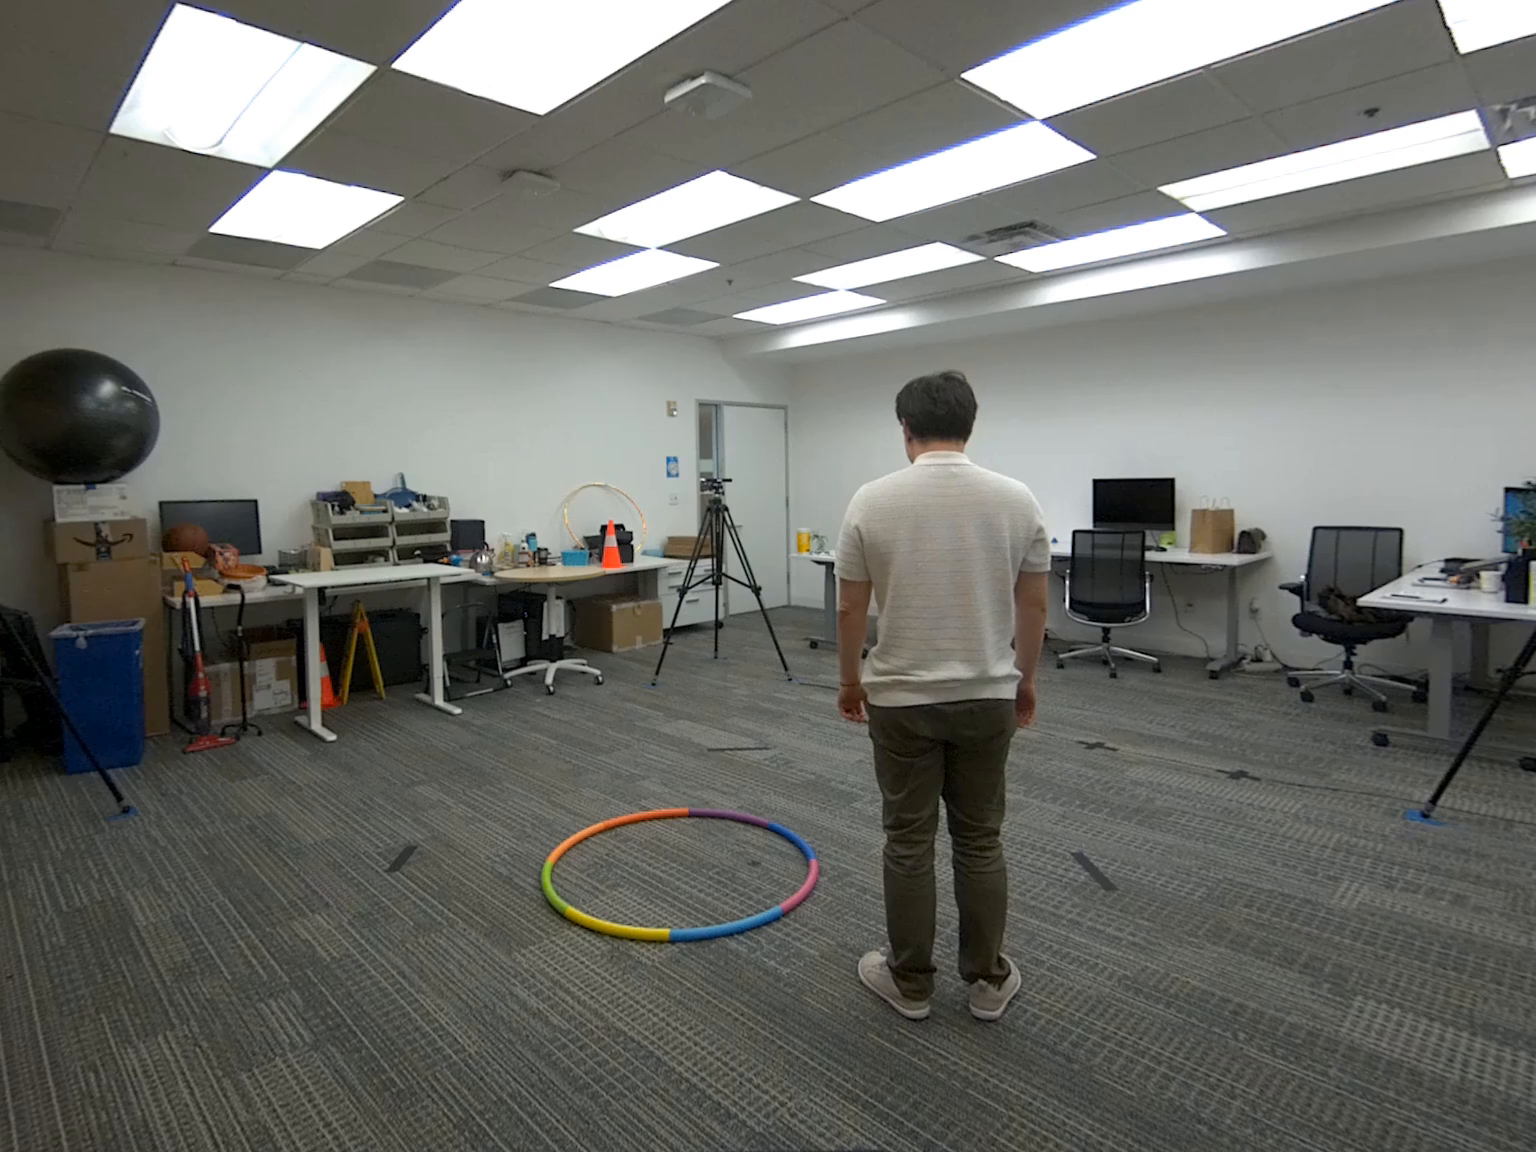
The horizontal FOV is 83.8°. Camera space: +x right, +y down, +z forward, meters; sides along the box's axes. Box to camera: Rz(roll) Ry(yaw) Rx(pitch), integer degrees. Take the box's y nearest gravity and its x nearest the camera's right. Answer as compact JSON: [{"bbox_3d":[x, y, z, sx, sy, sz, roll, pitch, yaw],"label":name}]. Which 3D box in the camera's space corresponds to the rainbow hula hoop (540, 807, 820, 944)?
[{"bbox_3d":[-0.312,1.022,3.077,0.978,0.035,0.984,-1,6,-2],"label":"rainbow hula hoop"}]
